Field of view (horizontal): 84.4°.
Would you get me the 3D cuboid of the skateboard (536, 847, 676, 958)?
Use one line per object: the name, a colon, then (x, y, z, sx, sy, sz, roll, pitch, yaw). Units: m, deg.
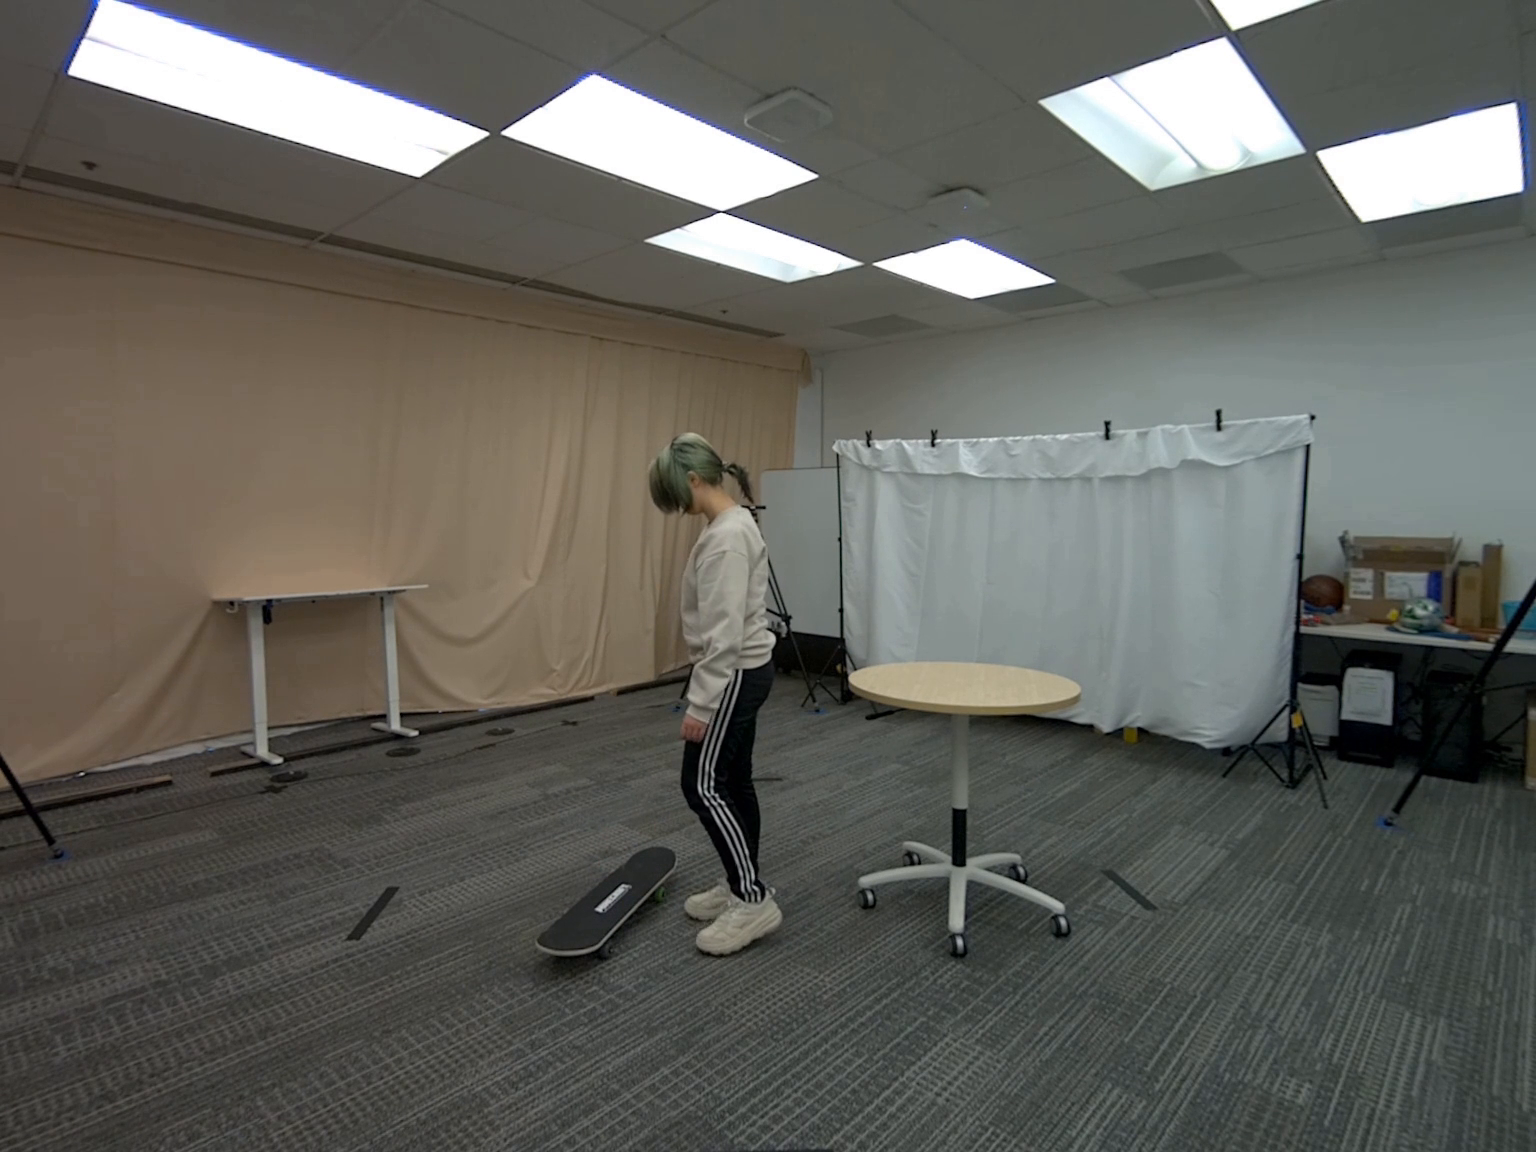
skateboard: (-0.514, 1.104, 2.802, 0.197, 0.110, 0.771, 1, 5, 18)
